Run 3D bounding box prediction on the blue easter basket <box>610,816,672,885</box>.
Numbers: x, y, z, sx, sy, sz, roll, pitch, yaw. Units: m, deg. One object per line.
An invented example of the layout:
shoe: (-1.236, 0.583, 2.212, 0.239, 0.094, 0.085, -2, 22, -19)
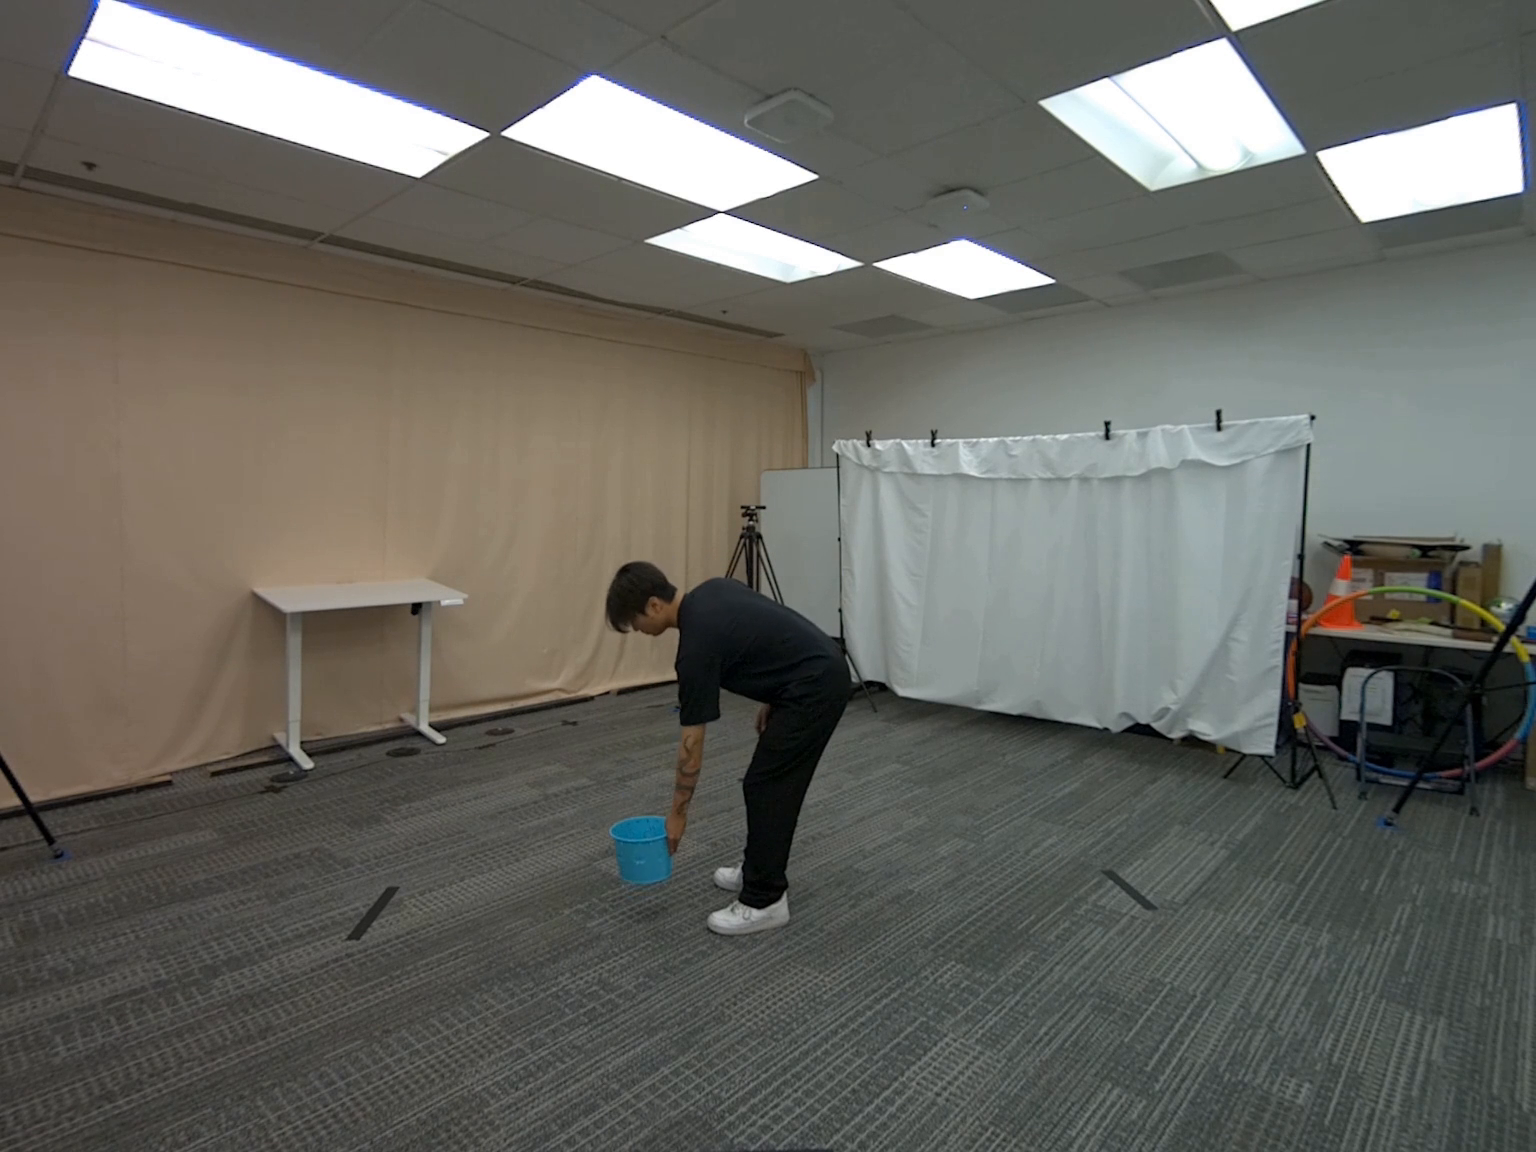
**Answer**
blue easter basket: (-0.409, 0.916, 2.831, 0.243, 0.155, 0.244, -3, 4, -2)
